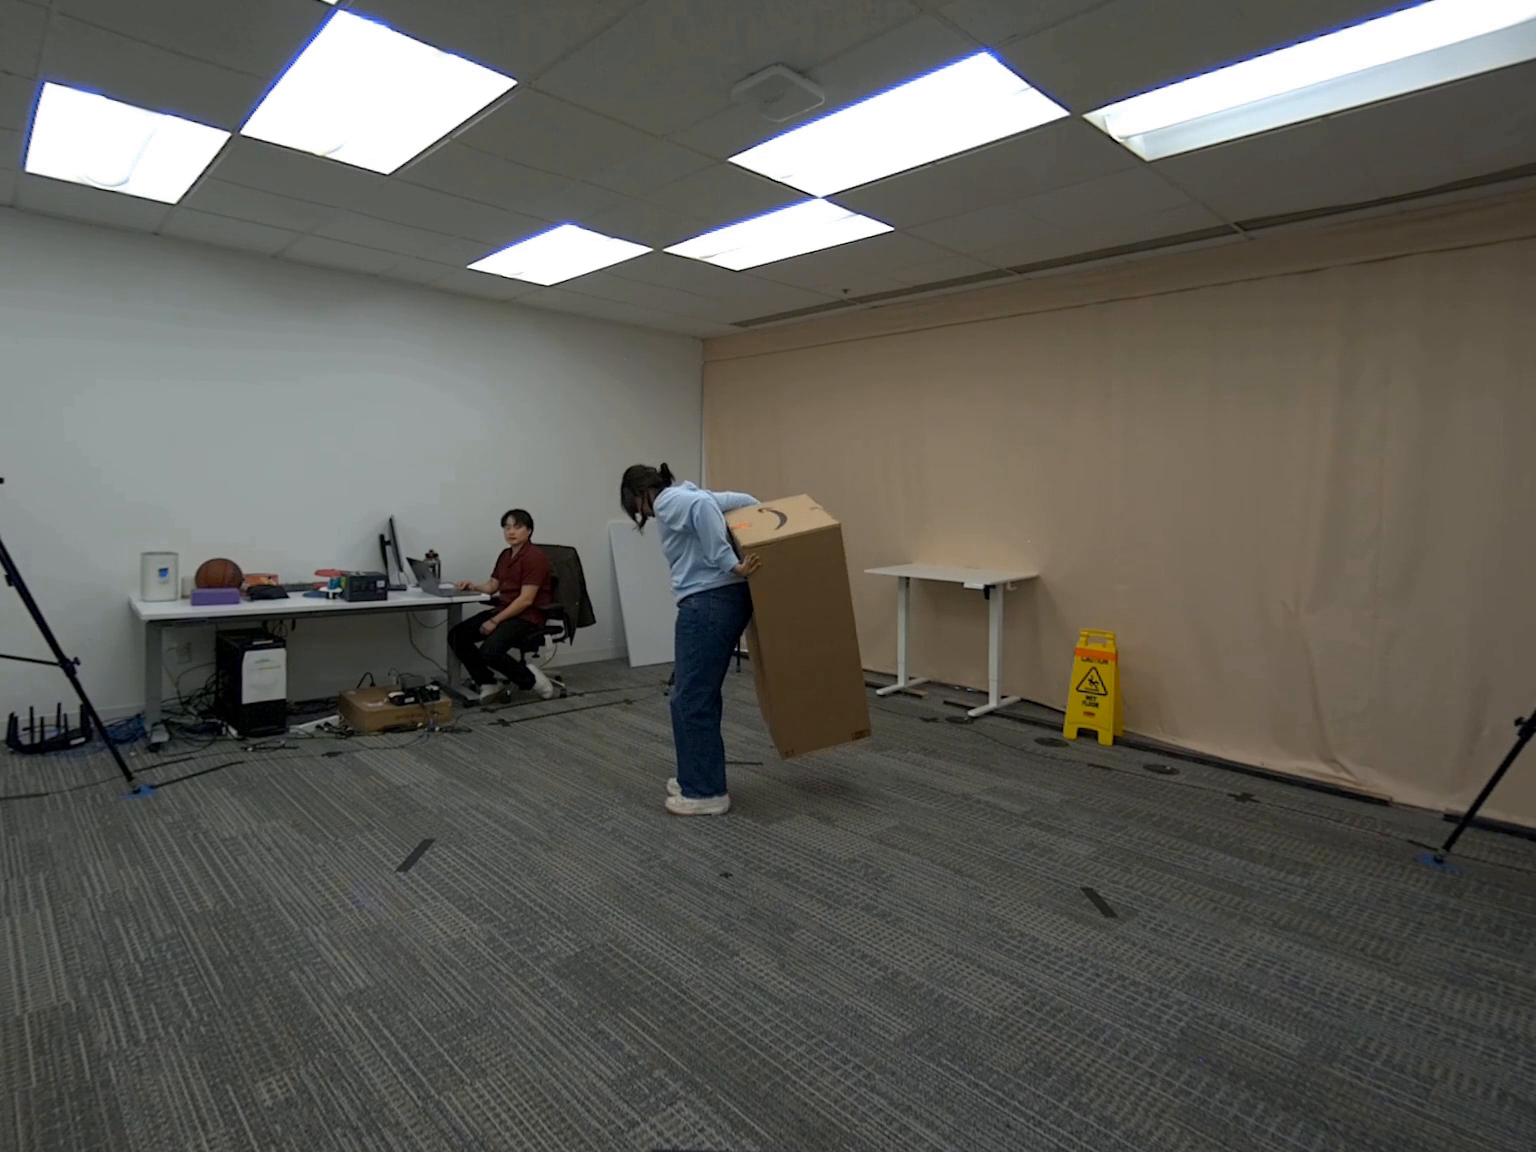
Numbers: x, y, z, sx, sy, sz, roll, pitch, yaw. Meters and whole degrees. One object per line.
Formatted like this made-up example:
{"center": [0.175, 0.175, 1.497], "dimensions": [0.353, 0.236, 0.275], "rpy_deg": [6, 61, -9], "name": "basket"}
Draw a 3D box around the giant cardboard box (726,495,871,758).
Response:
{"center": [0.117, 0.219, 3.856], "dimensions": [0.424, 1.010, 0.588], "rpy_deg": [-12, 18, -7], "name": "giant cardboard box"}
